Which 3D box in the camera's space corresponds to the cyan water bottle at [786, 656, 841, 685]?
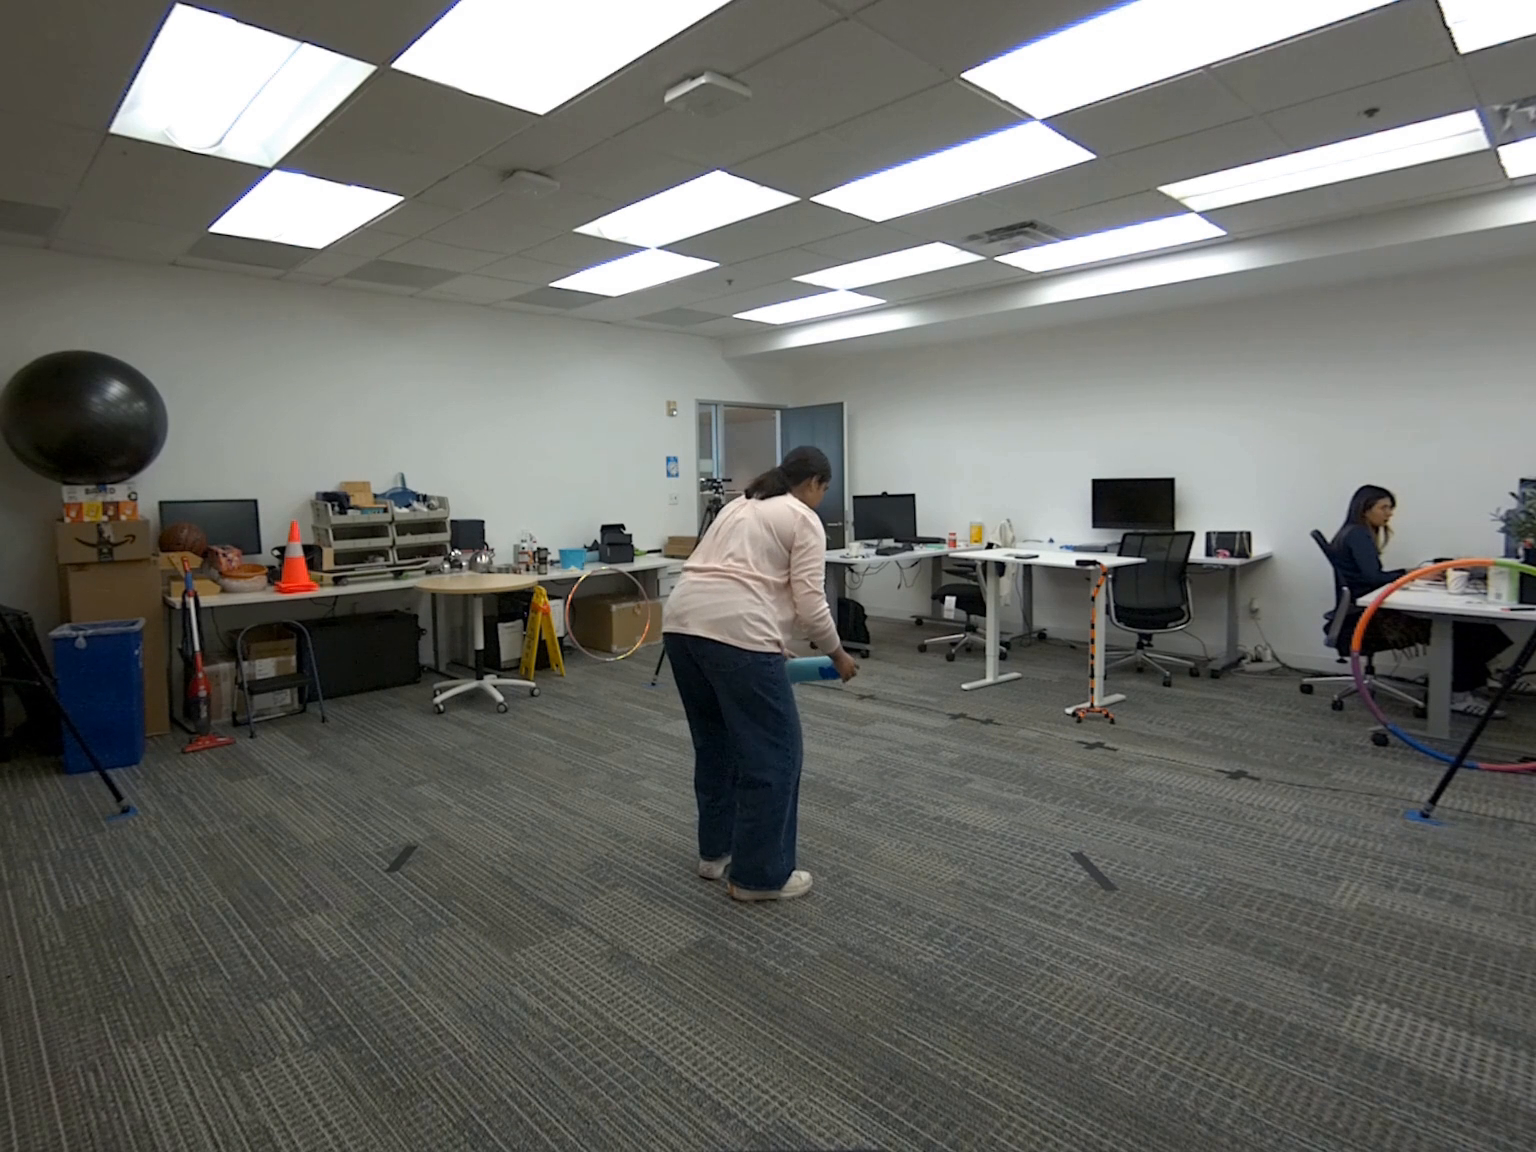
[{"bbox_3d":[0.179,0.345,3.126,0.290,0.092,0.090,-8,-1,41],"label":"cyan water bottle"}]
